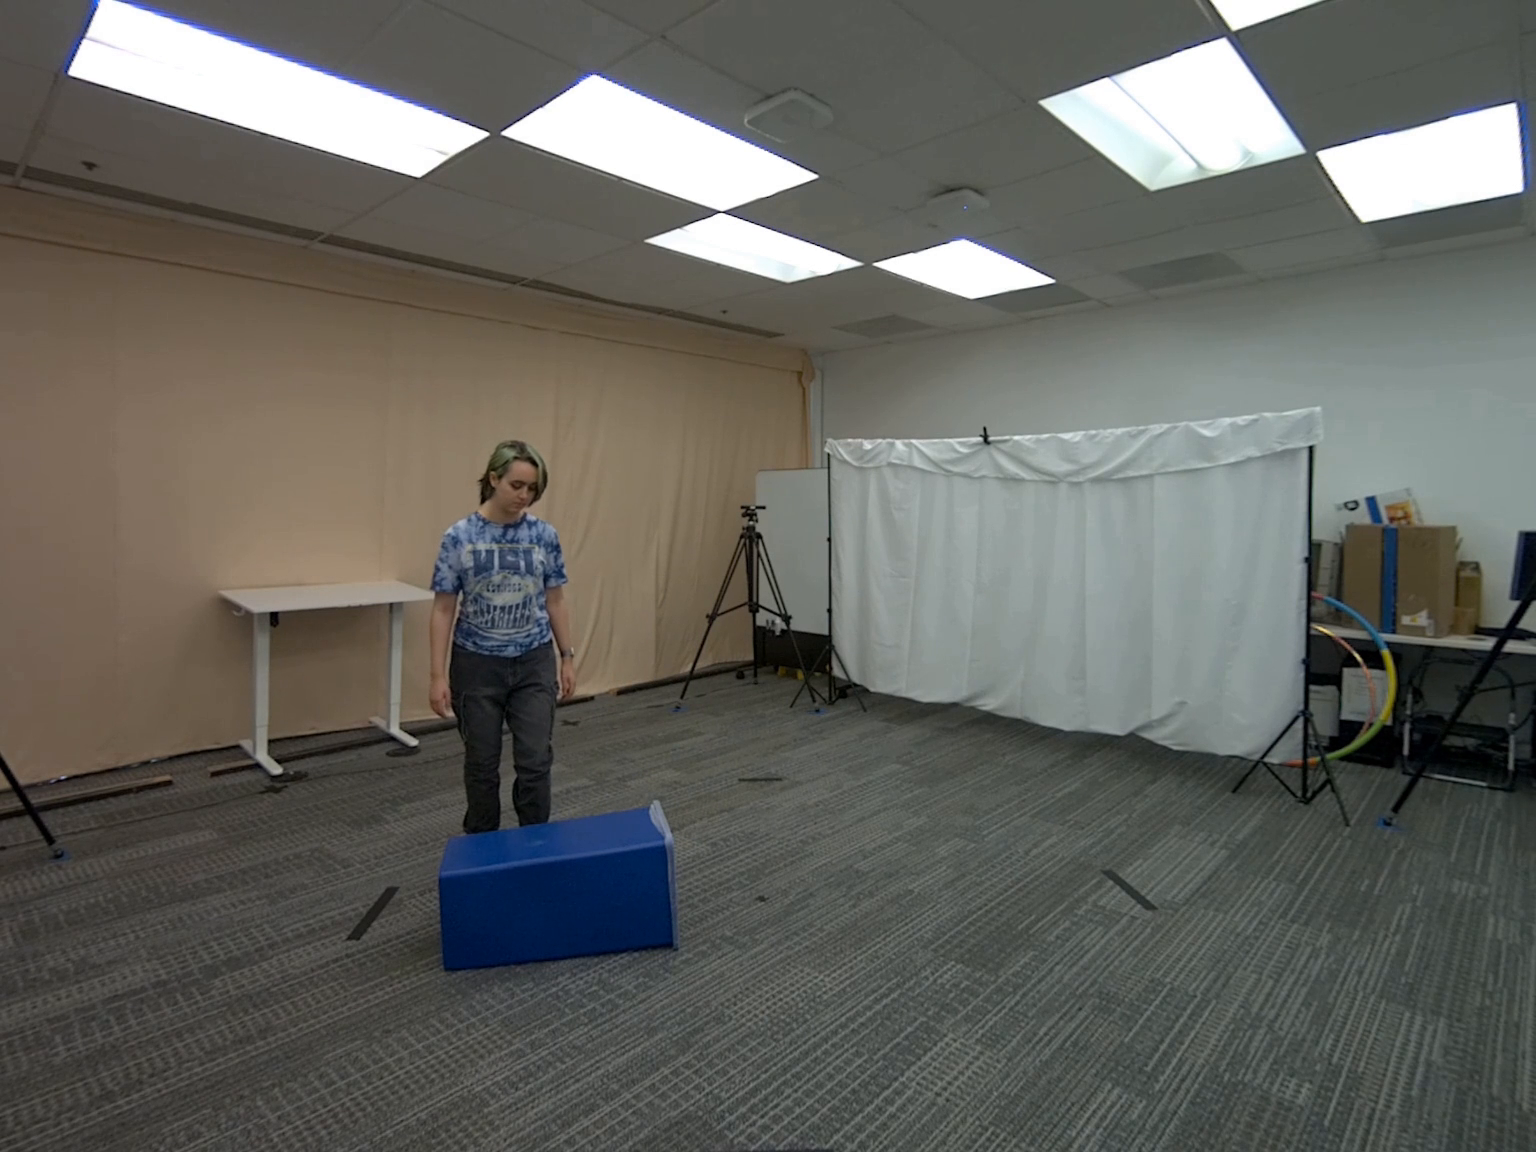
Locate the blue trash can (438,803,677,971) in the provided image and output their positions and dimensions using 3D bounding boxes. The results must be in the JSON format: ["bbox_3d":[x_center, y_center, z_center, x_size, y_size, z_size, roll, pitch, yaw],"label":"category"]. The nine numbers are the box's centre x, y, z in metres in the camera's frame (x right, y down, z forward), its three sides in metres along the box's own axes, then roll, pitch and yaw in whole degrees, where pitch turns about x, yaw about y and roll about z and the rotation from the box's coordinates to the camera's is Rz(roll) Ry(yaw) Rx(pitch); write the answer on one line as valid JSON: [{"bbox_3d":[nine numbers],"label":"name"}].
[{"bbox_3d":[-0.667,0.995,2.724,0.704,0.373,0.384,-3,4,-13],"label":"blue trash can"}]
